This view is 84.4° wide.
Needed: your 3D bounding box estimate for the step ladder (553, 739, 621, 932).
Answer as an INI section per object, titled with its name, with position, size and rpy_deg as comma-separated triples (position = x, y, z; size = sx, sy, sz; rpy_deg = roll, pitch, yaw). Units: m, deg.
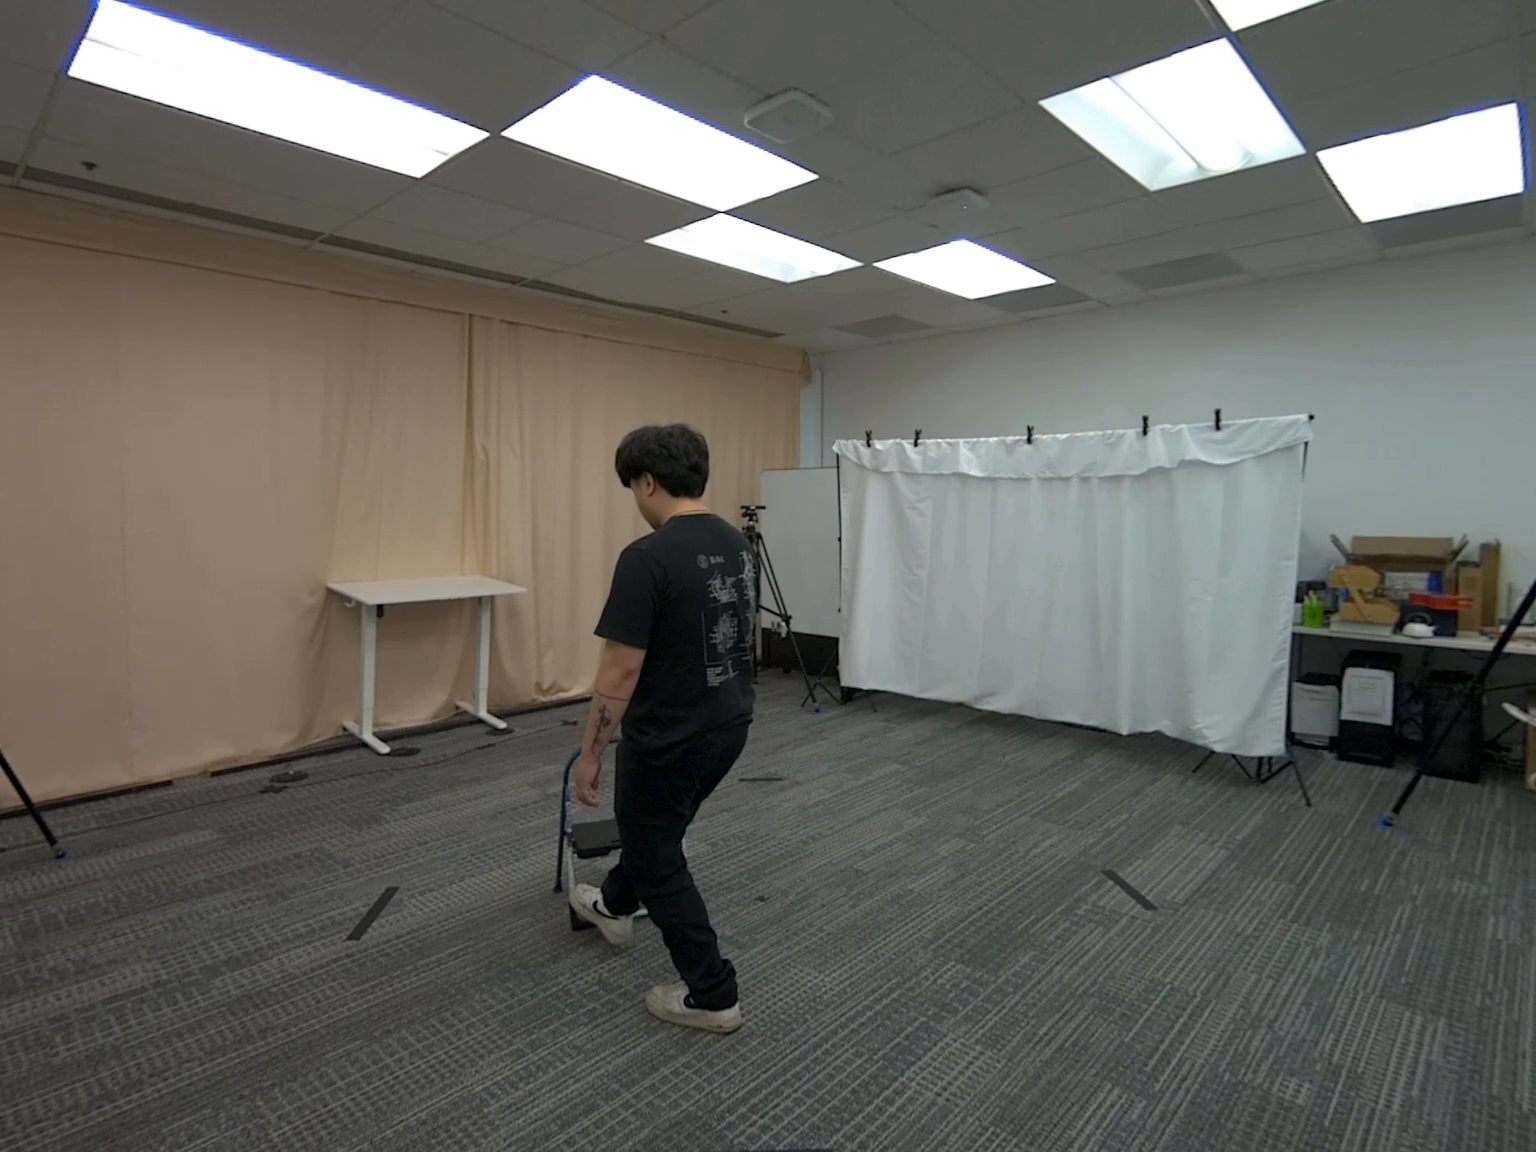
[step ladder]
position = -0.520, 0.843, 2.970
size = 0.421, 0.605, 0.358
rpy_deg = -2, 4, -23
